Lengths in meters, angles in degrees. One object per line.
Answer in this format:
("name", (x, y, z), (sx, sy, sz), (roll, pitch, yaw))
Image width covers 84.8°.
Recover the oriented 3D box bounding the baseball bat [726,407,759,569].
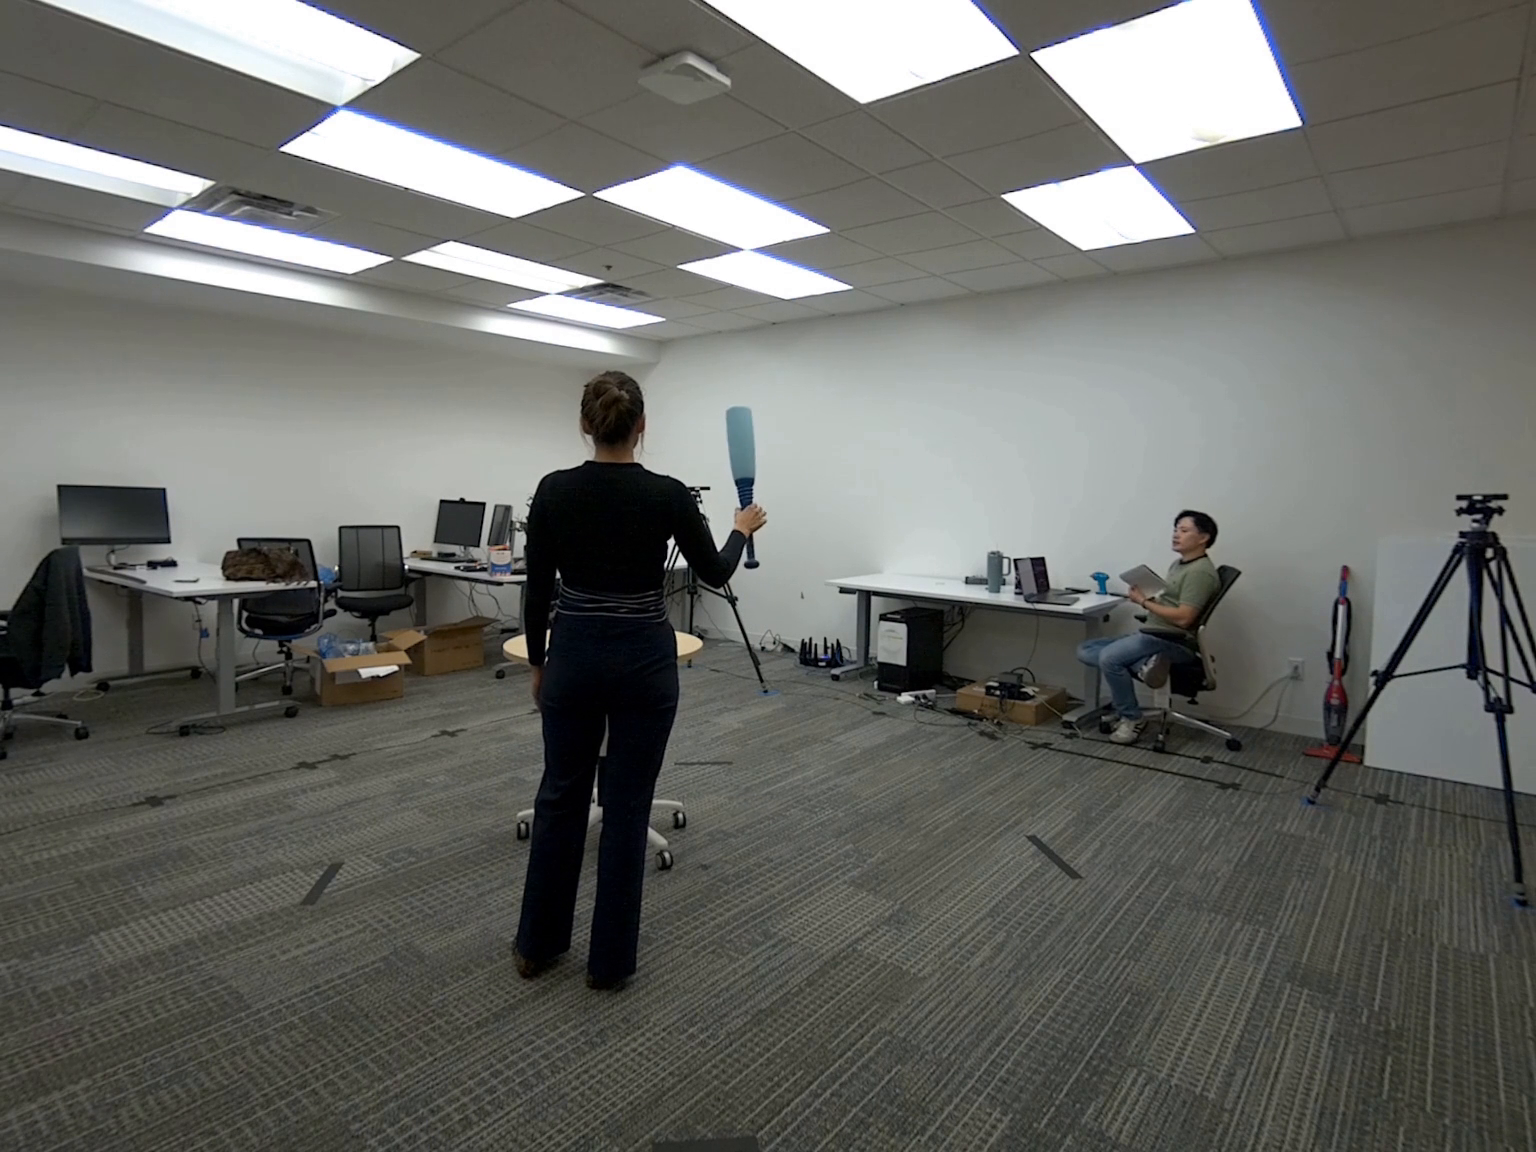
("baseball bat", (-0.080, -0.293, 2.780), (0.089, 0.549, 0.088), (-4, -11, -2))
